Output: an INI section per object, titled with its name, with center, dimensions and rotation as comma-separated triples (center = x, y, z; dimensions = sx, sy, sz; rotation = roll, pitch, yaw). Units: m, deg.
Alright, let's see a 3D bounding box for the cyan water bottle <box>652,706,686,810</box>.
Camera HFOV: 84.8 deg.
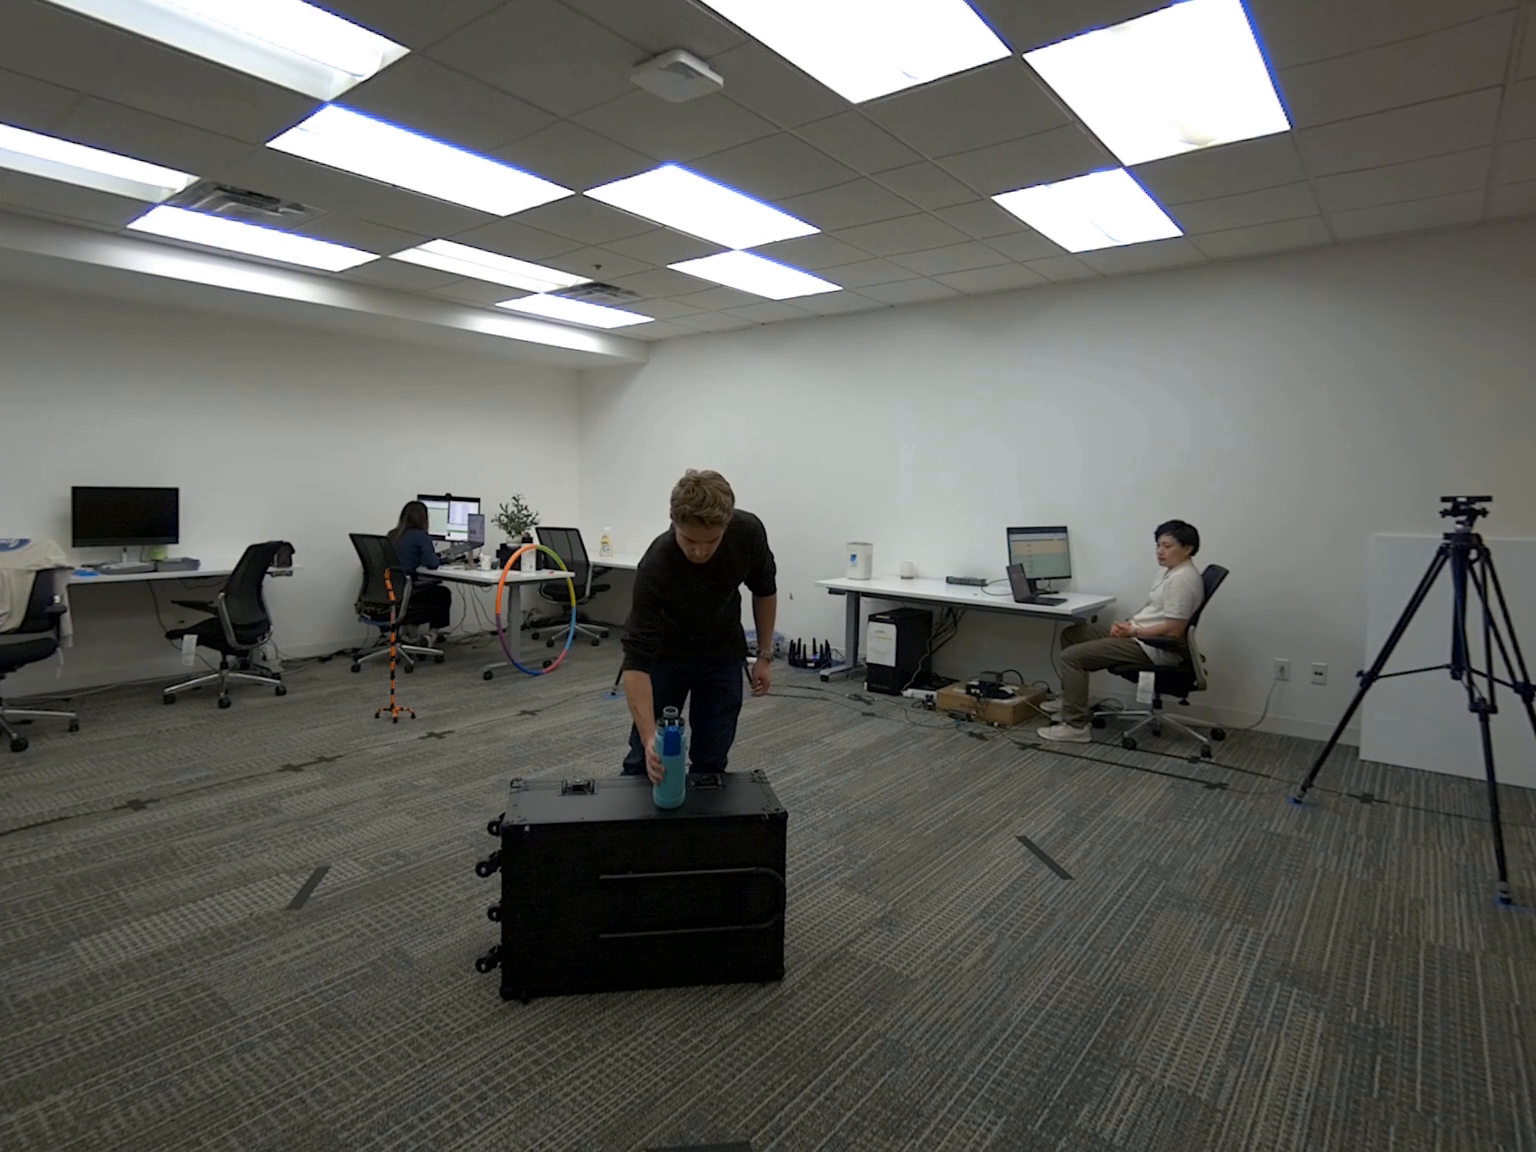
[cyan water bottle]
center = -0.279, 0.505, 2.378
dimensions = 0.092, 0.279, 0.094
rotation = 7, 21, -5
